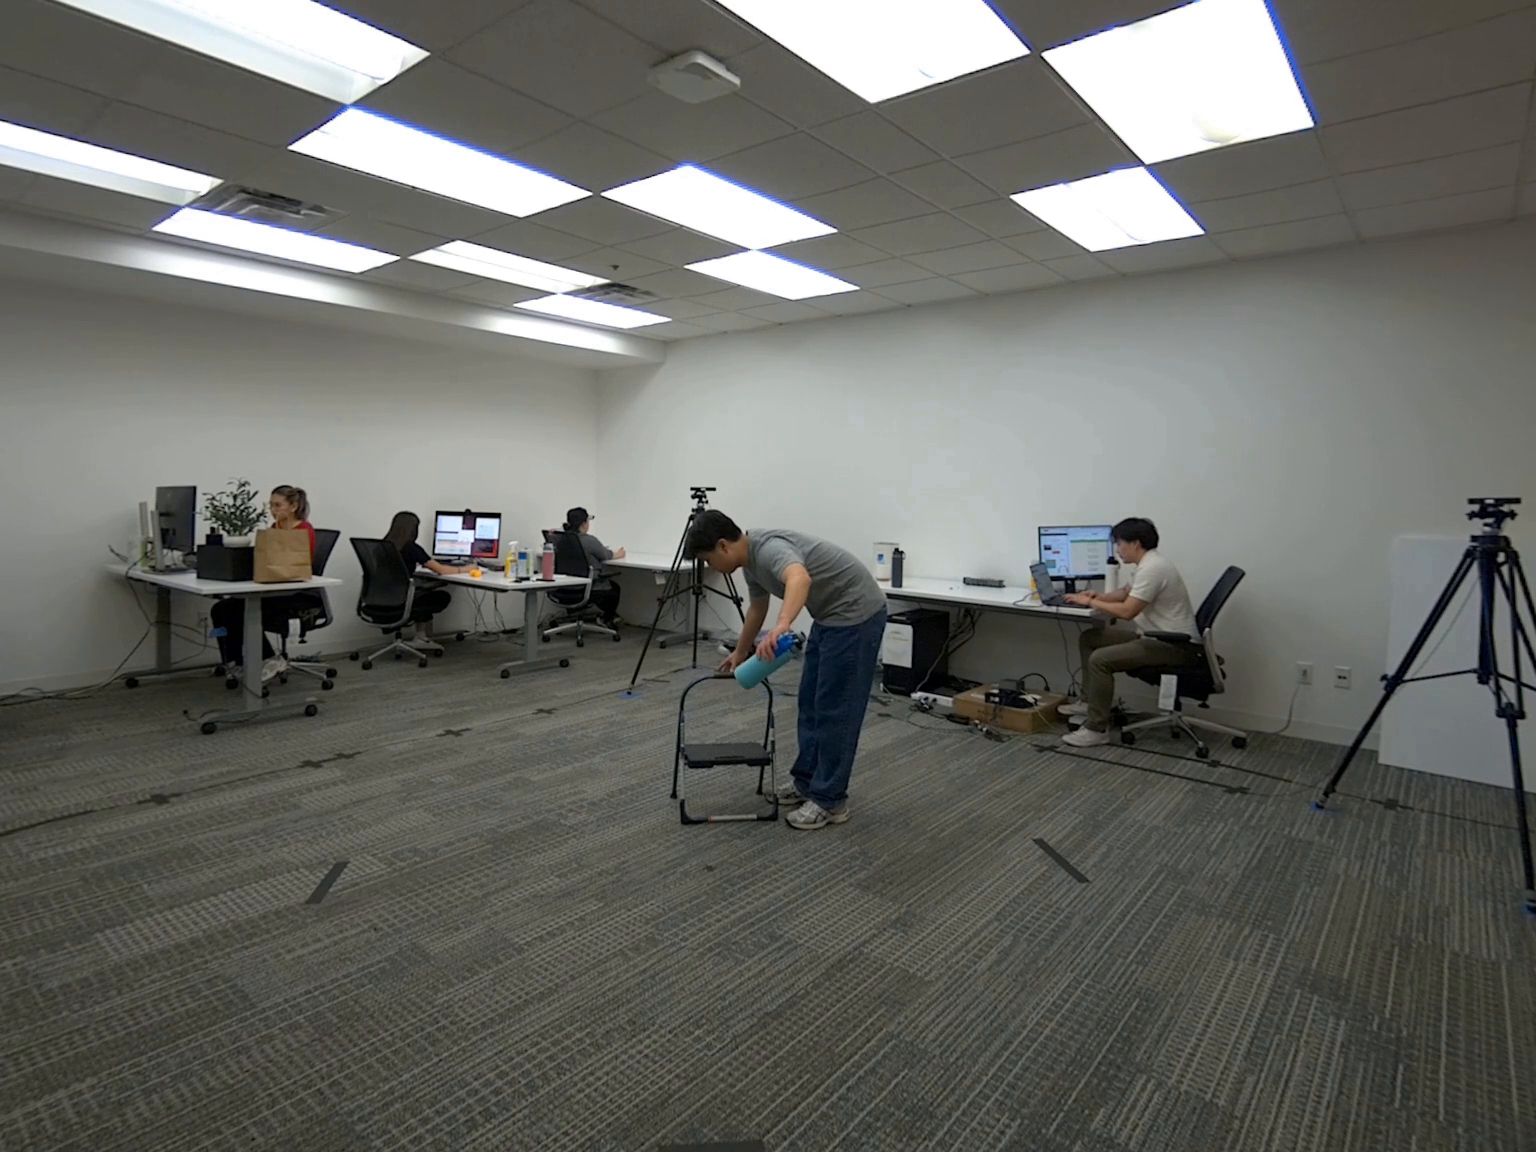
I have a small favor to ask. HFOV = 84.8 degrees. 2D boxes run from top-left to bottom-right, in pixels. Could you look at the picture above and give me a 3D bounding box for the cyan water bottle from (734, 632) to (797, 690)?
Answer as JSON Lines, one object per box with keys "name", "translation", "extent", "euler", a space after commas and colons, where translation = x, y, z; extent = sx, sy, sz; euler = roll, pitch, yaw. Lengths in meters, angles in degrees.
{"name": "cyan water bottle", "translation": [-0.005, 0.305, 2.972], "extent": [0.285, 0.094, 0.090], "euler": [-38, -13, 23]}
